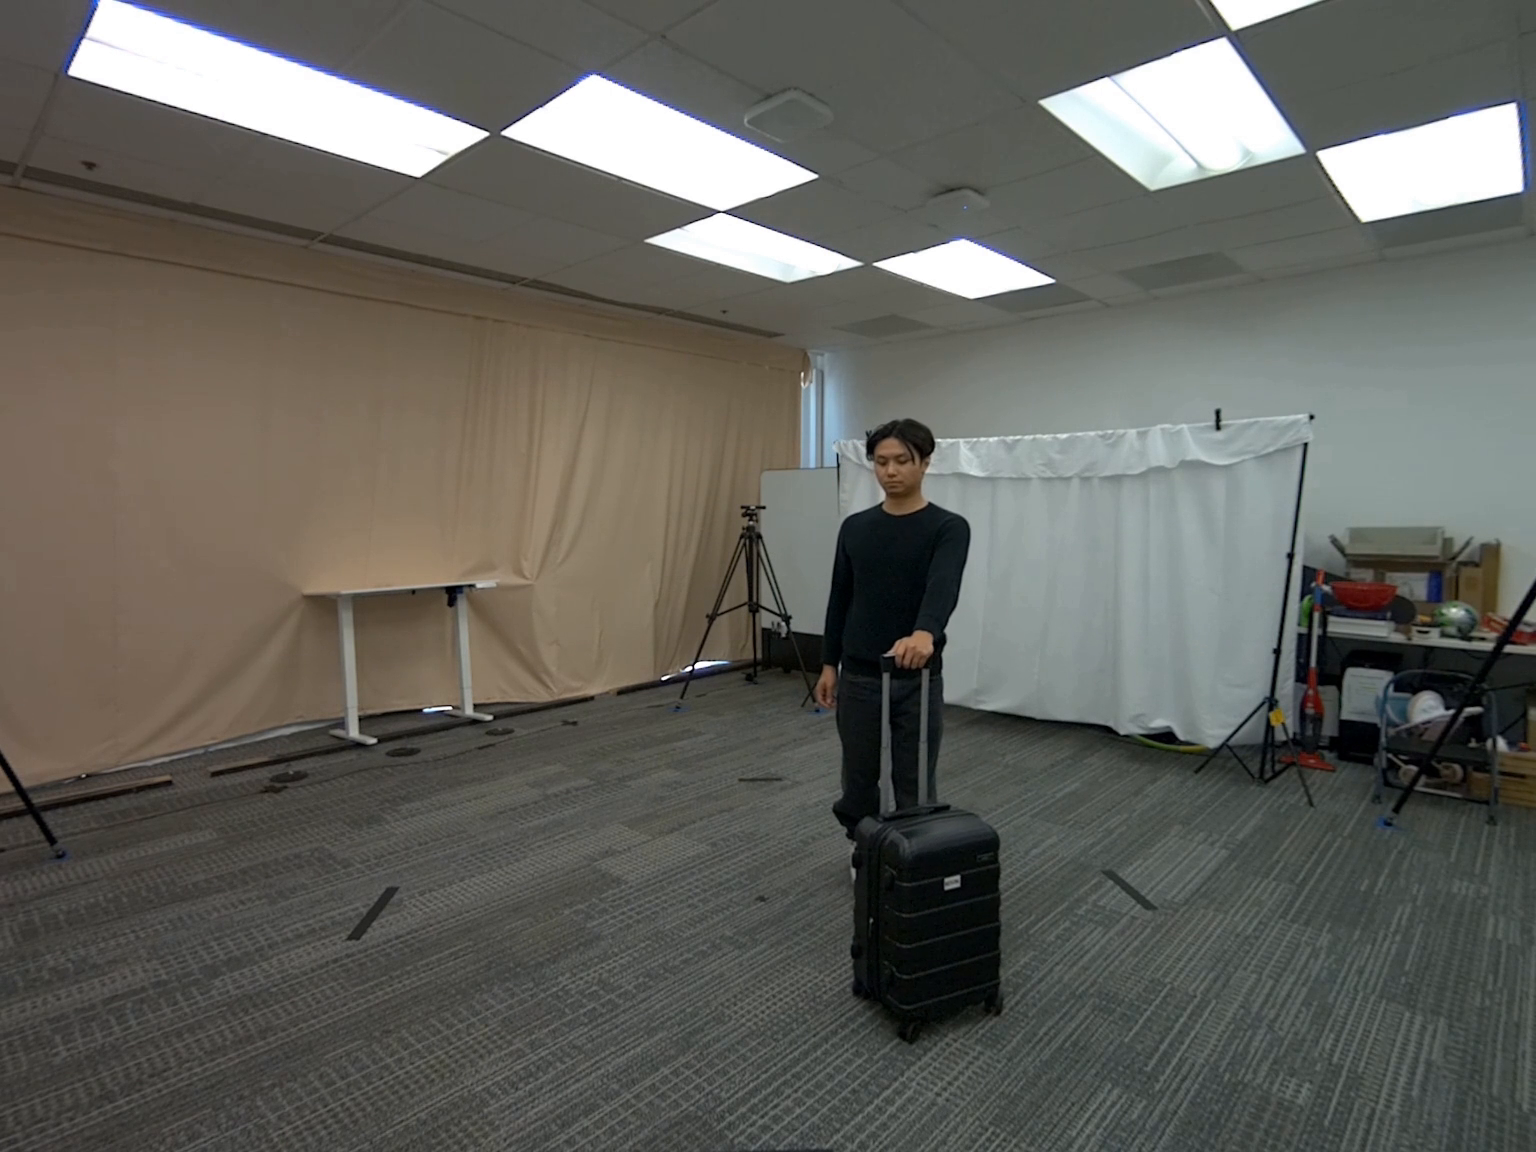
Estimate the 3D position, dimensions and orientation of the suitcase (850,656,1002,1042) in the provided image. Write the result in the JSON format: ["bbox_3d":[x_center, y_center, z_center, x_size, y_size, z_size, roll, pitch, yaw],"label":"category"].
[{"bbox_3d":[0.447,0.717,2.306,0.375,0.975,0.264,-2,7,-25],"label":"suitcase"}]
